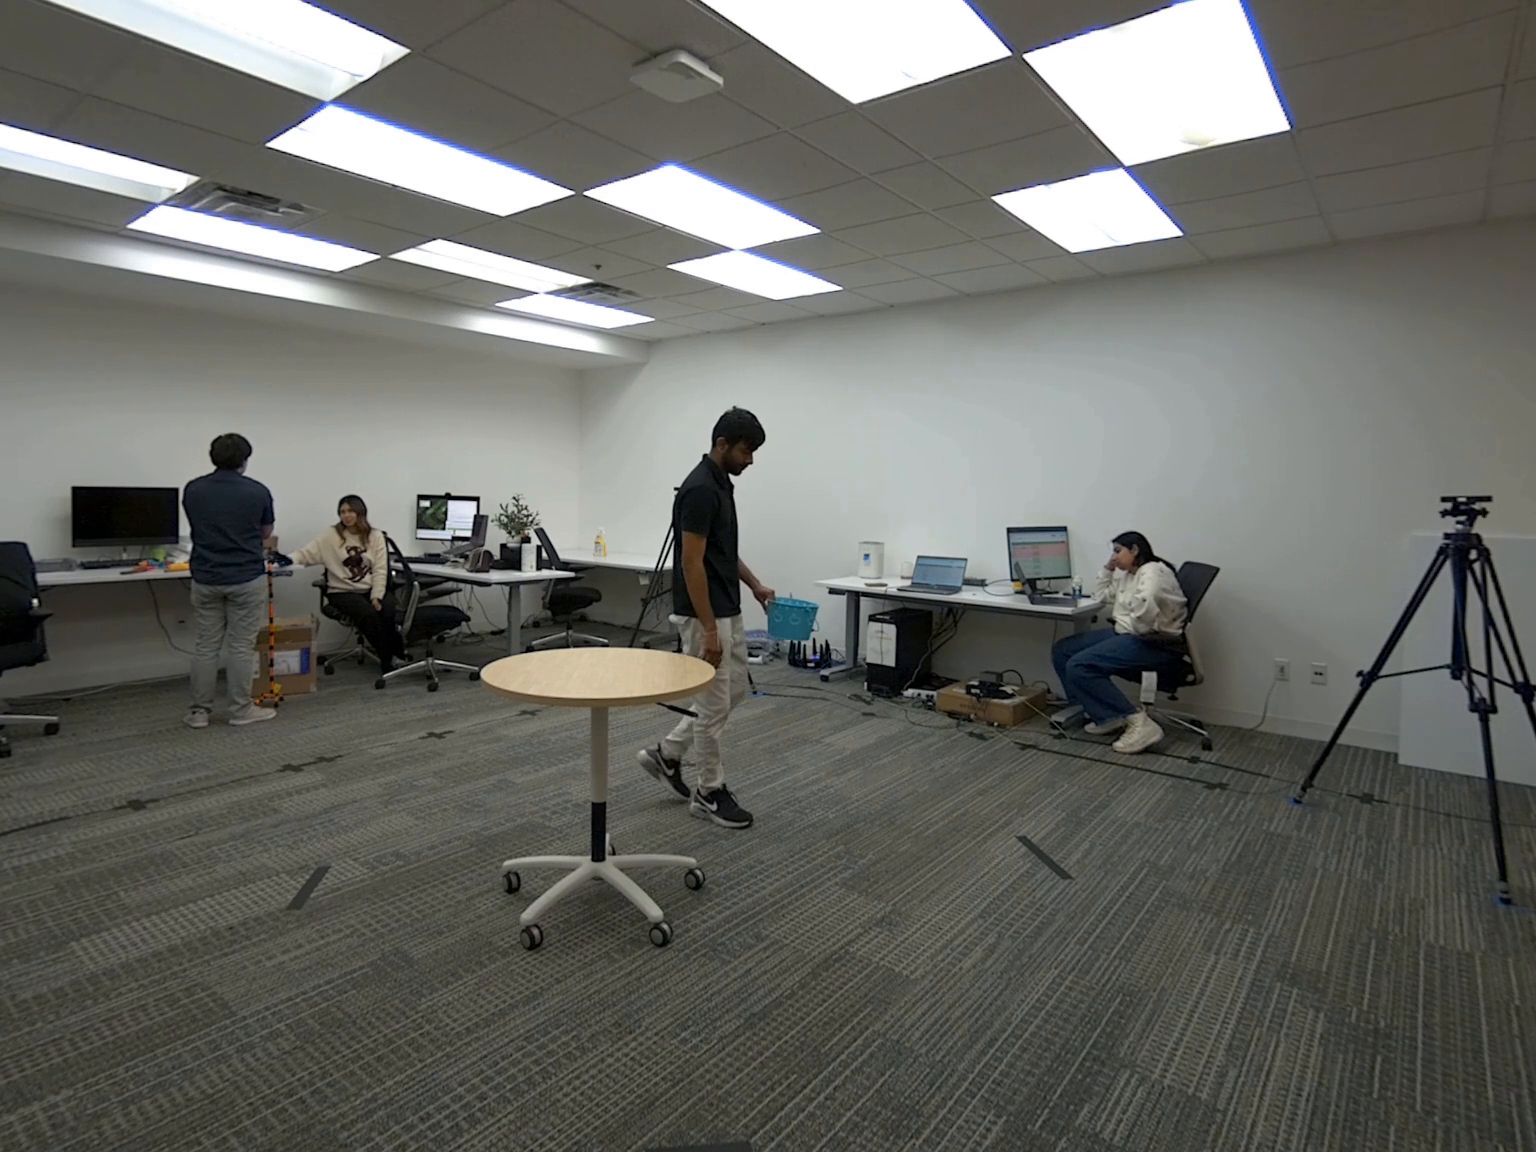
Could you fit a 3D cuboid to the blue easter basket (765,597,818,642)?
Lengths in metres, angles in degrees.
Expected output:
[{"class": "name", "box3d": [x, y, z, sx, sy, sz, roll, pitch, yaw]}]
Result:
[{"class": "blue easter basket", "box3d": [0.089, 0.184, 3.652, 0.243, 0.155, 0.245, 7, 5, -2]}]
